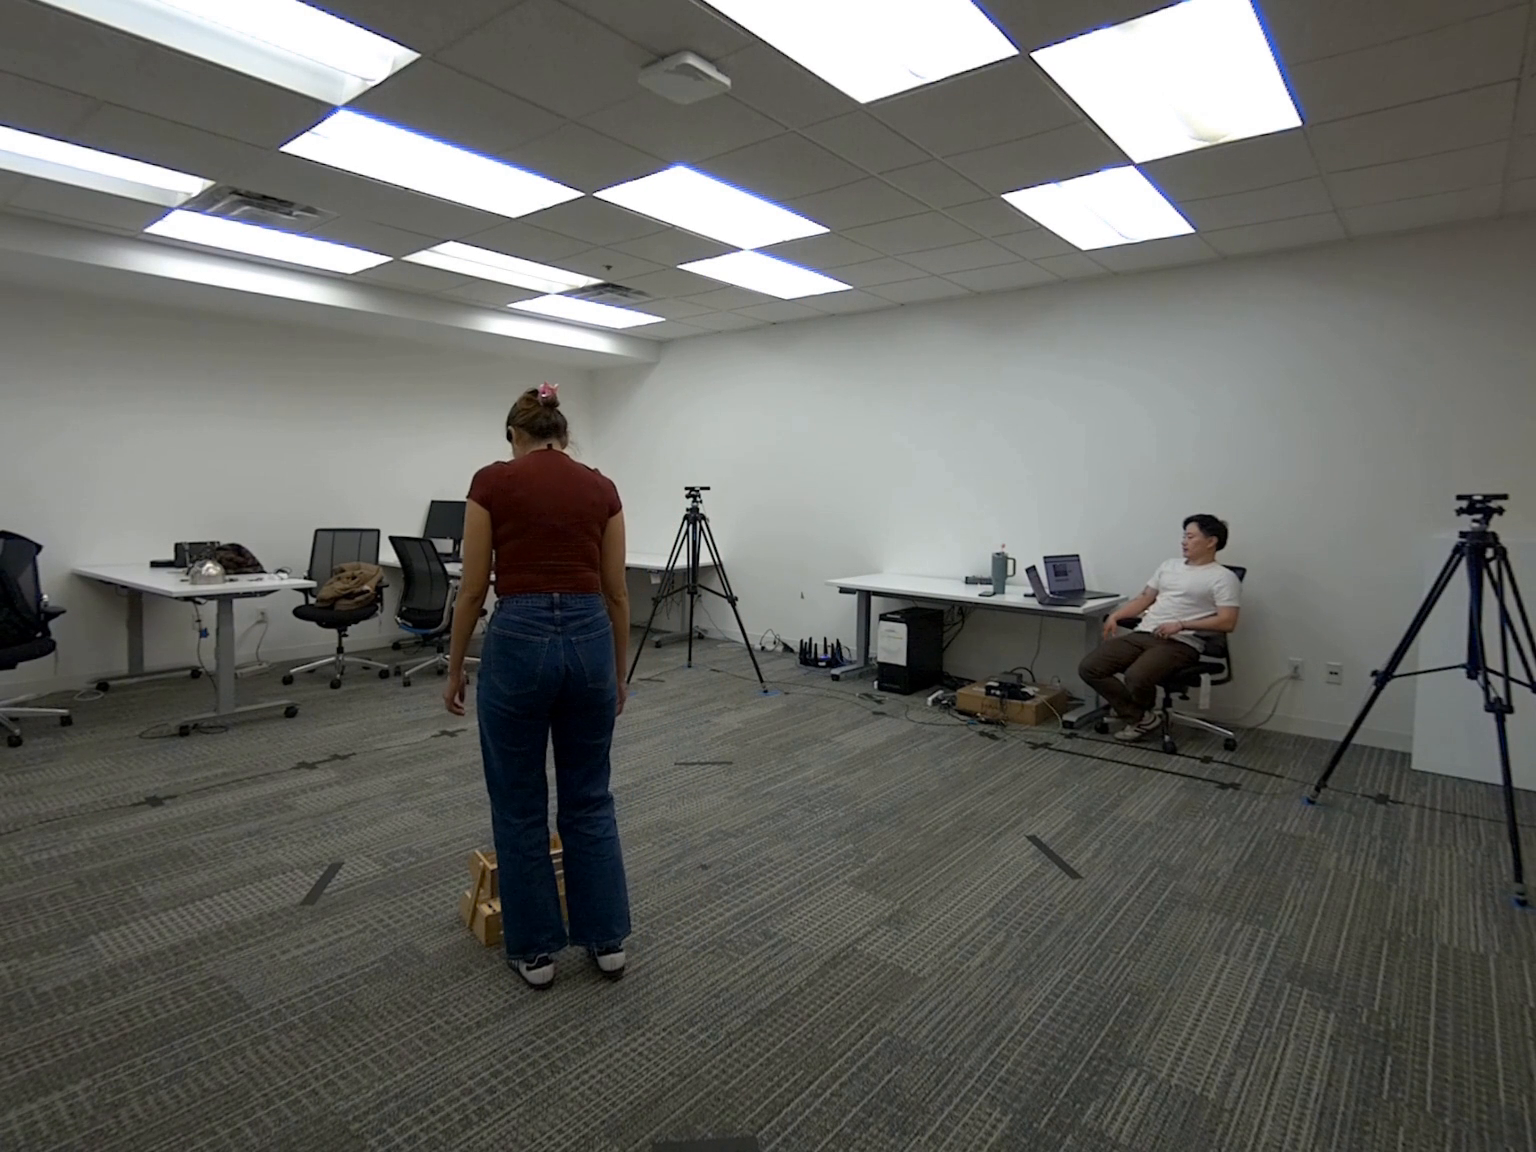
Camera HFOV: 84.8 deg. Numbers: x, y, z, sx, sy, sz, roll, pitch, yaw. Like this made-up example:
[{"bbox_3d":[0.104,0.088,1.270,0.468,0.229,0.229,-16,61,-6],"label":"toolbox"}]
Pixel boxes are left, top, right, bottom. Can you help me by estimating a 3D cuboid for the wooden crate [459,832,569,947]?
[{"bbox_3d":[-0.802,0.962,2.717,0.315,0.272,0.312,-2,6,-36],"label":"wooden crate"}]
